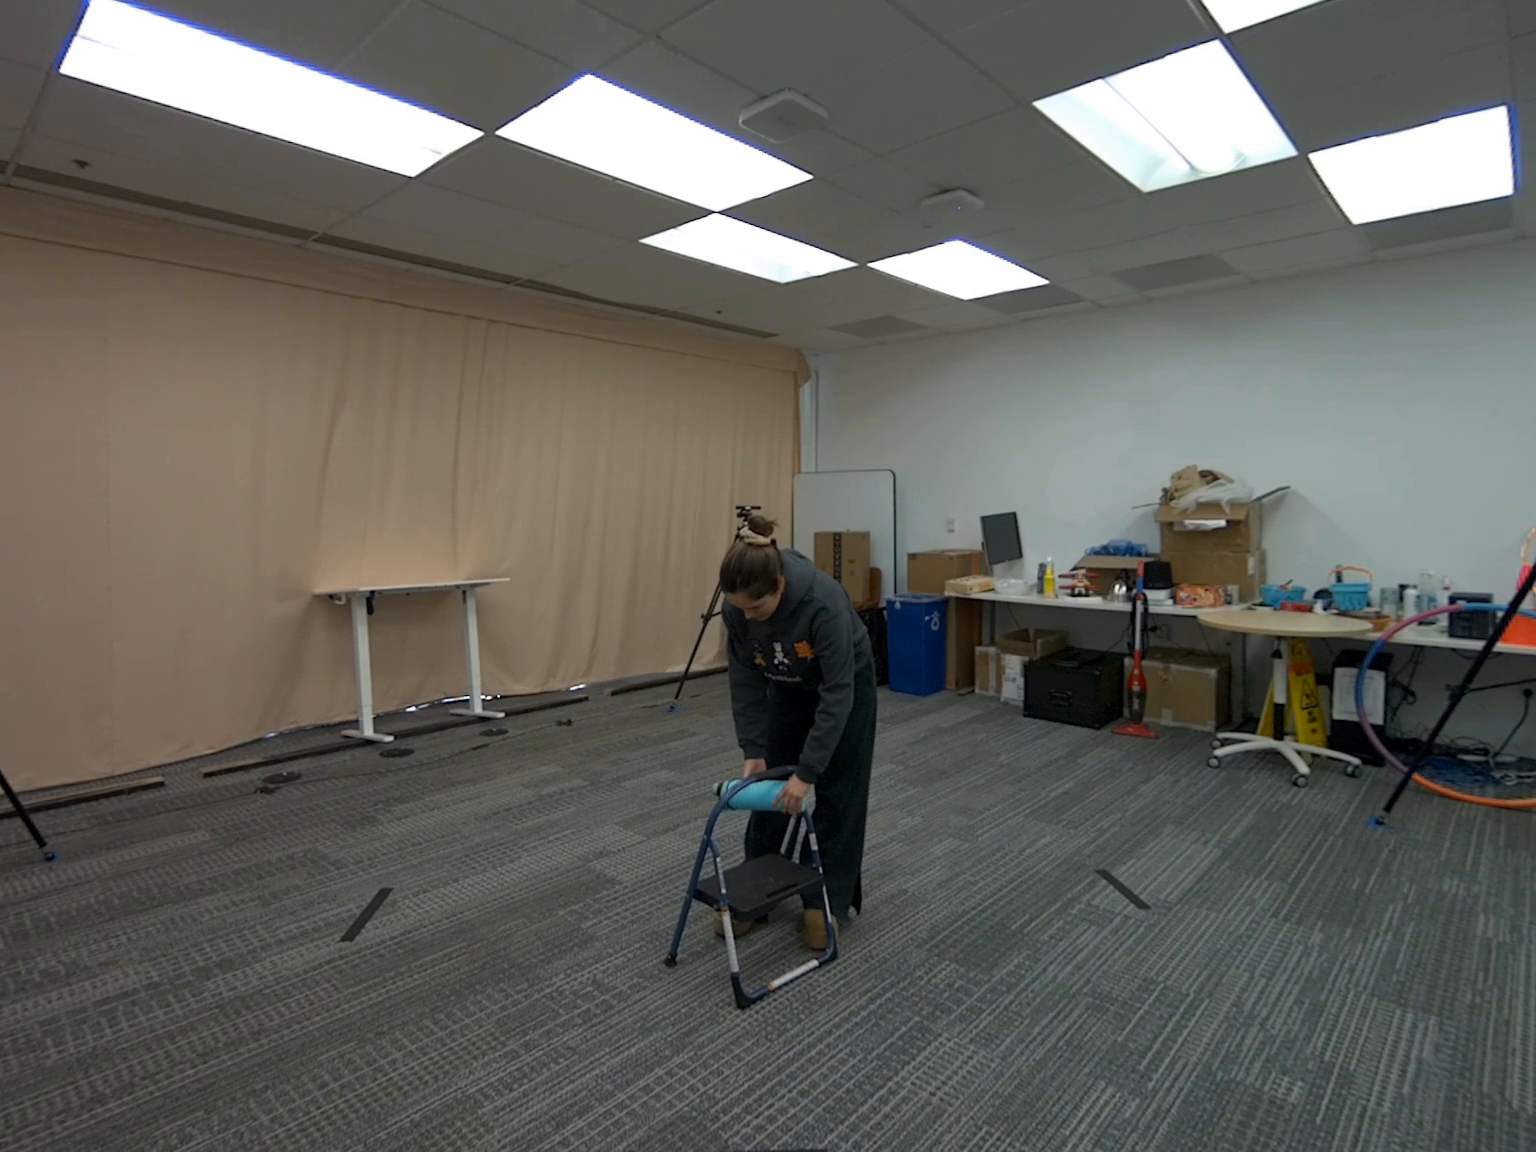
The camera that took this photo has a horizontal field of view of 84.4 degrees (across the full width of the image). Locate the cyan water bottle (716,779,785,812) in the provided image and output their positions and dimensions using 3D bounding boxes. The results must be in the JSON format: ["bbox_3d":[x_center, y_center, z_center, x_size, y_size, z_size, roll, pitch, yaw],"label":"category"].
[{"bbox_3d":[-0.003,0.681,2.558,0.288,0.092,0.091,-5,3,15],"label":"cyan water bottle"}]
